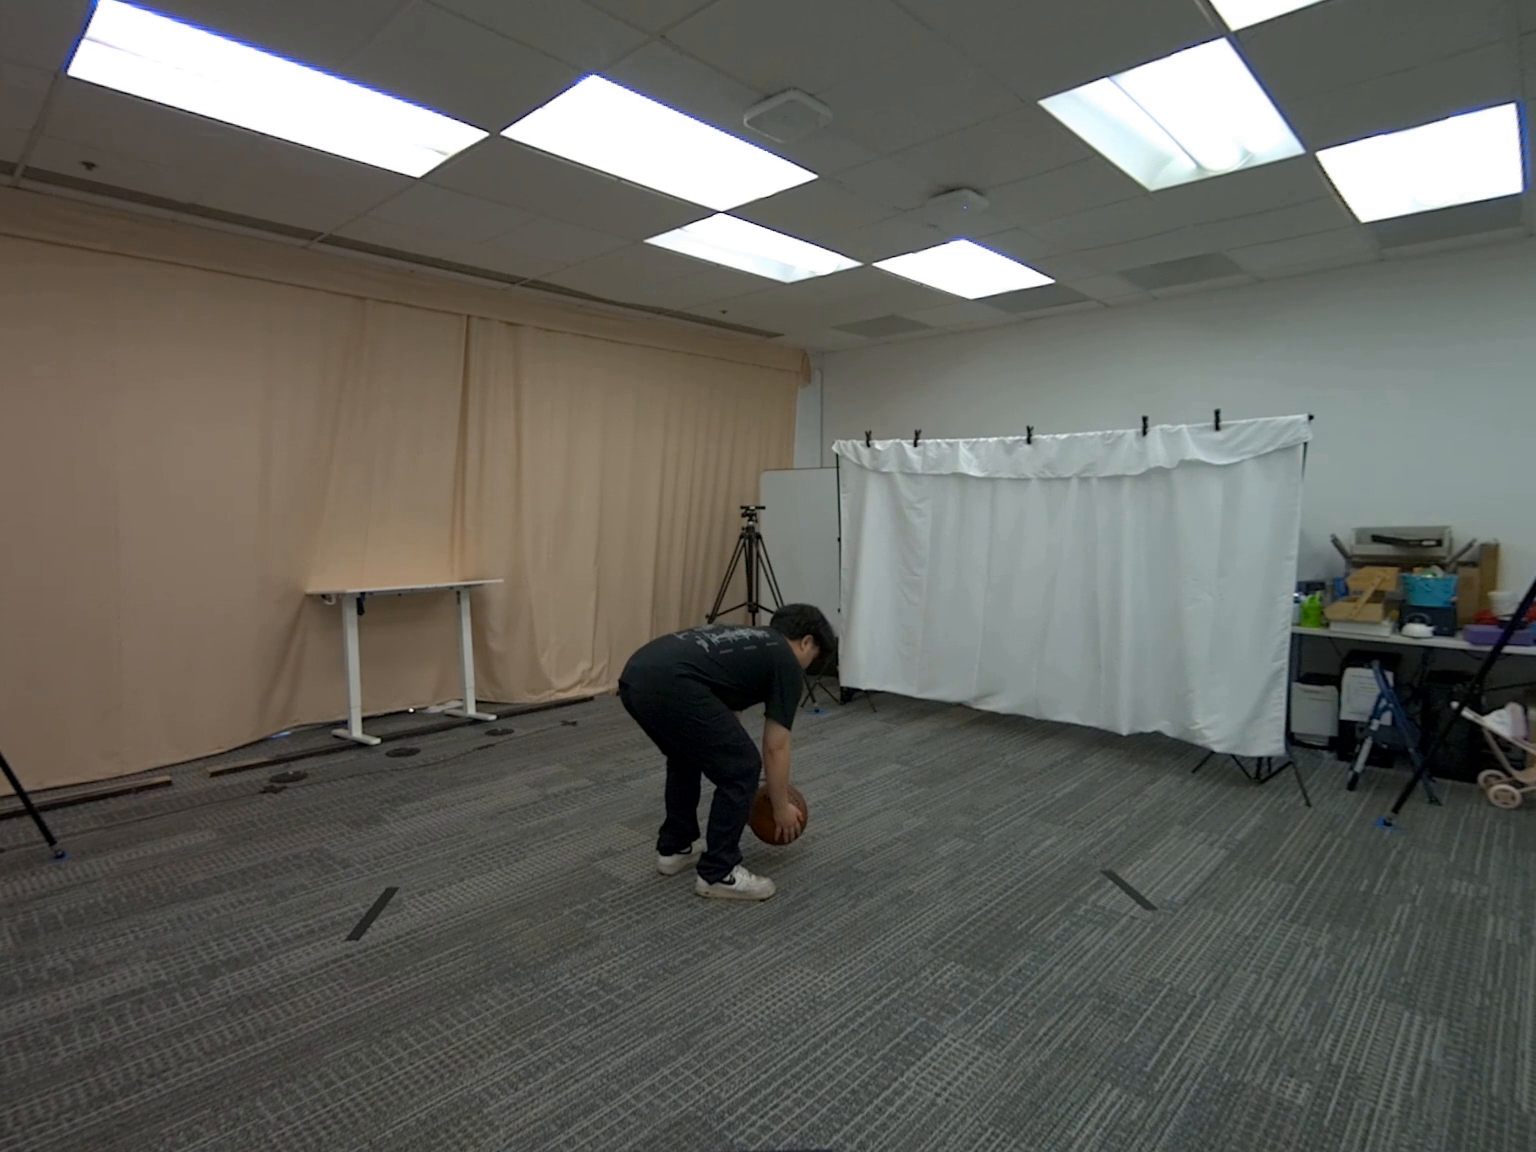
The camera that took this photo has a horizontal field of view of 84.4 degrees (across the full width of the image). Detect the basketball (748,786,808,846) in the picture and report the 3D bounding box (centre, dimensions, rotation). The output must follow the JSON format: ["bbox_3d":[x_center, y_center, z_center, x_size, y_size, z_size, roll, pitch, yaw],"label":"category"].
[{"bbox_3d":[0.045,0.930,3.310,0.236,0.235,0.237,0,4,-2],"label":"basketball"}]
